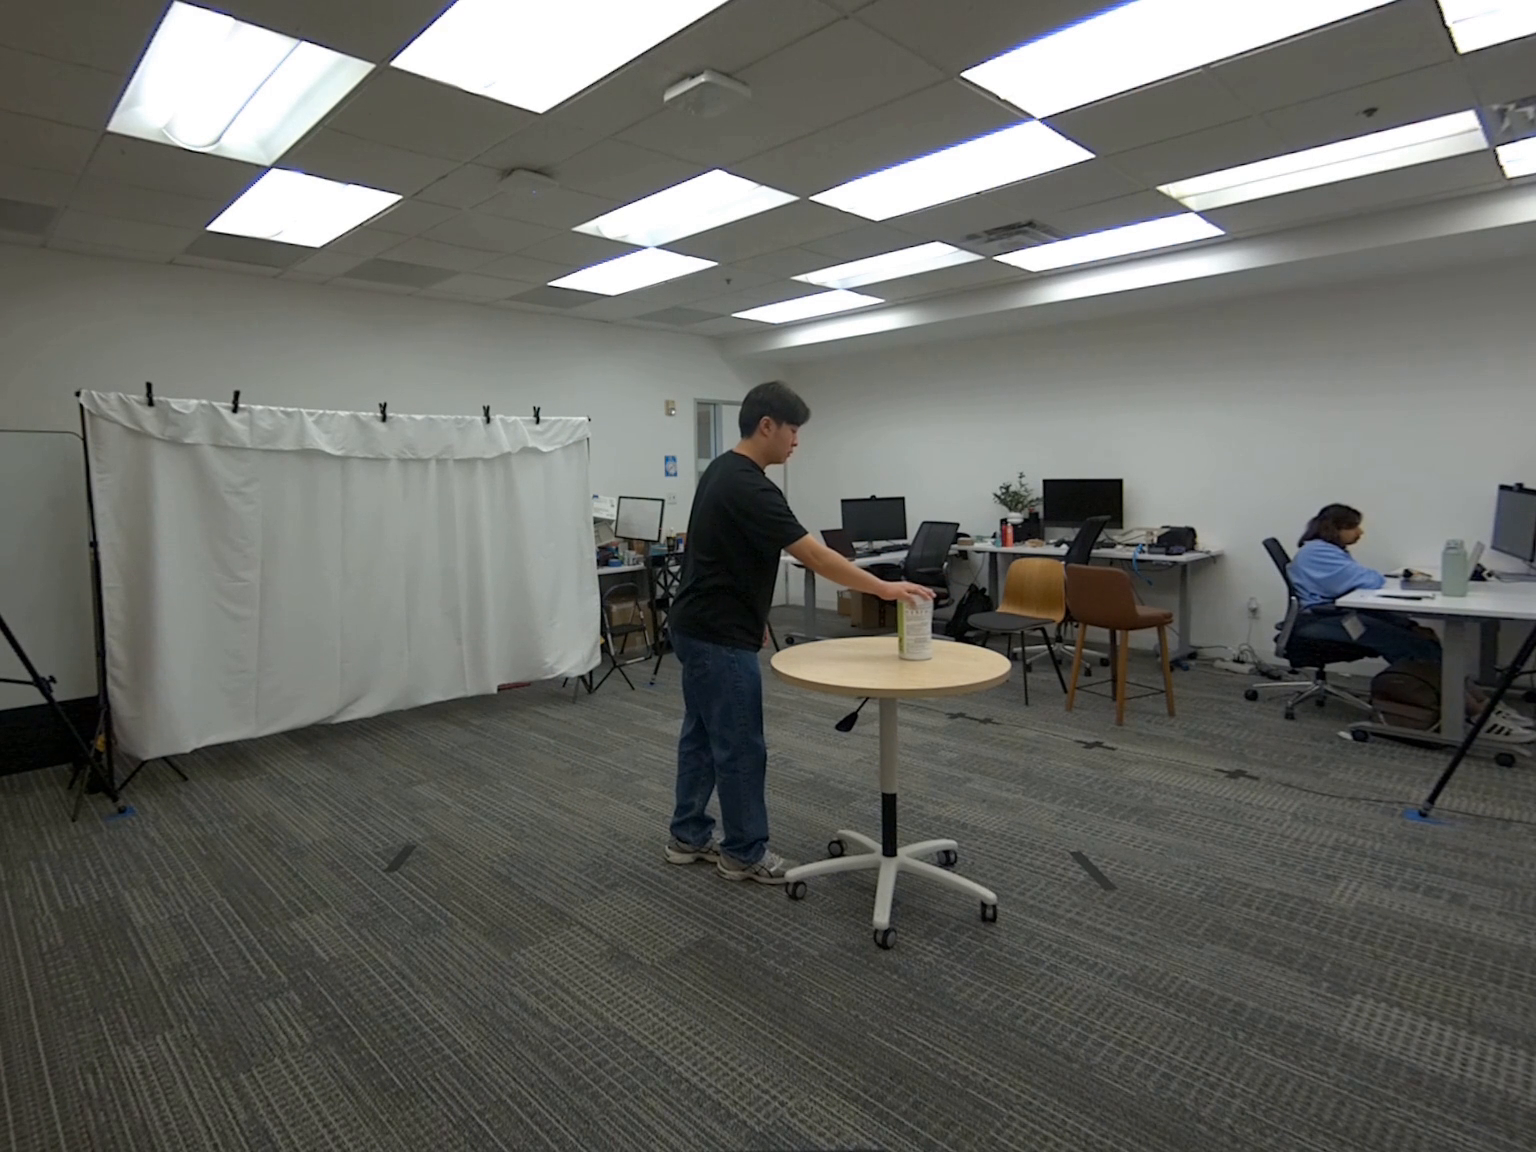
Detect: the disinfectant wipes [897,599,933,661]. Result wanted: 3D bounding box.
[{"bbox_3d":[0.485,0.162,2.808,0.118,0.217,0.118,-3,3,-1],"label":"disinfectant wipes"}]
